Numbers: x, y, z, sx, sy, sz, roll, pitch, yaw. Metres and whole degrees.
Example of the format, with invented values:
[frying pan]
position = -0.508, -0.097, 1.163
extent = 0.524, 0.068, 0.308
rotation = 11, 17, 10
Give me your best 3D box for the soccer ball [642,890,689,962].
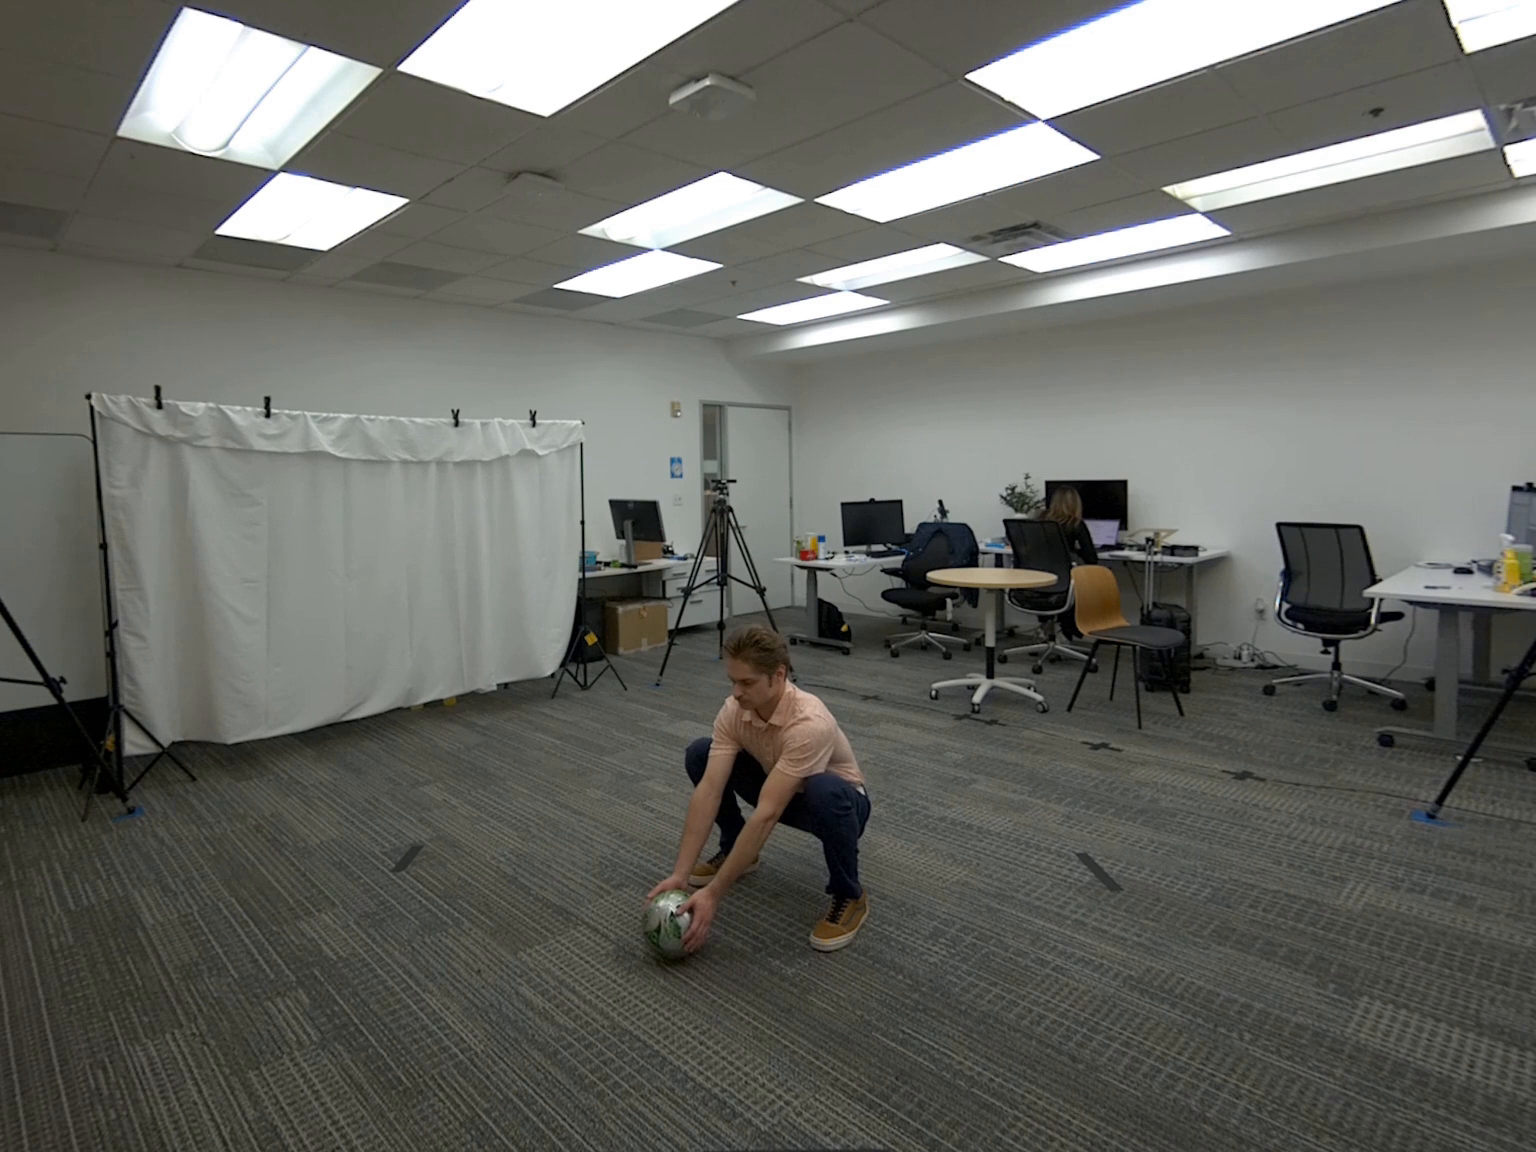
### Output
[soccer ball]
position = -0.274, 1.025, 2.523
extent = 0.187, 0.187, 0.188
rotation = -1, 5, -2
